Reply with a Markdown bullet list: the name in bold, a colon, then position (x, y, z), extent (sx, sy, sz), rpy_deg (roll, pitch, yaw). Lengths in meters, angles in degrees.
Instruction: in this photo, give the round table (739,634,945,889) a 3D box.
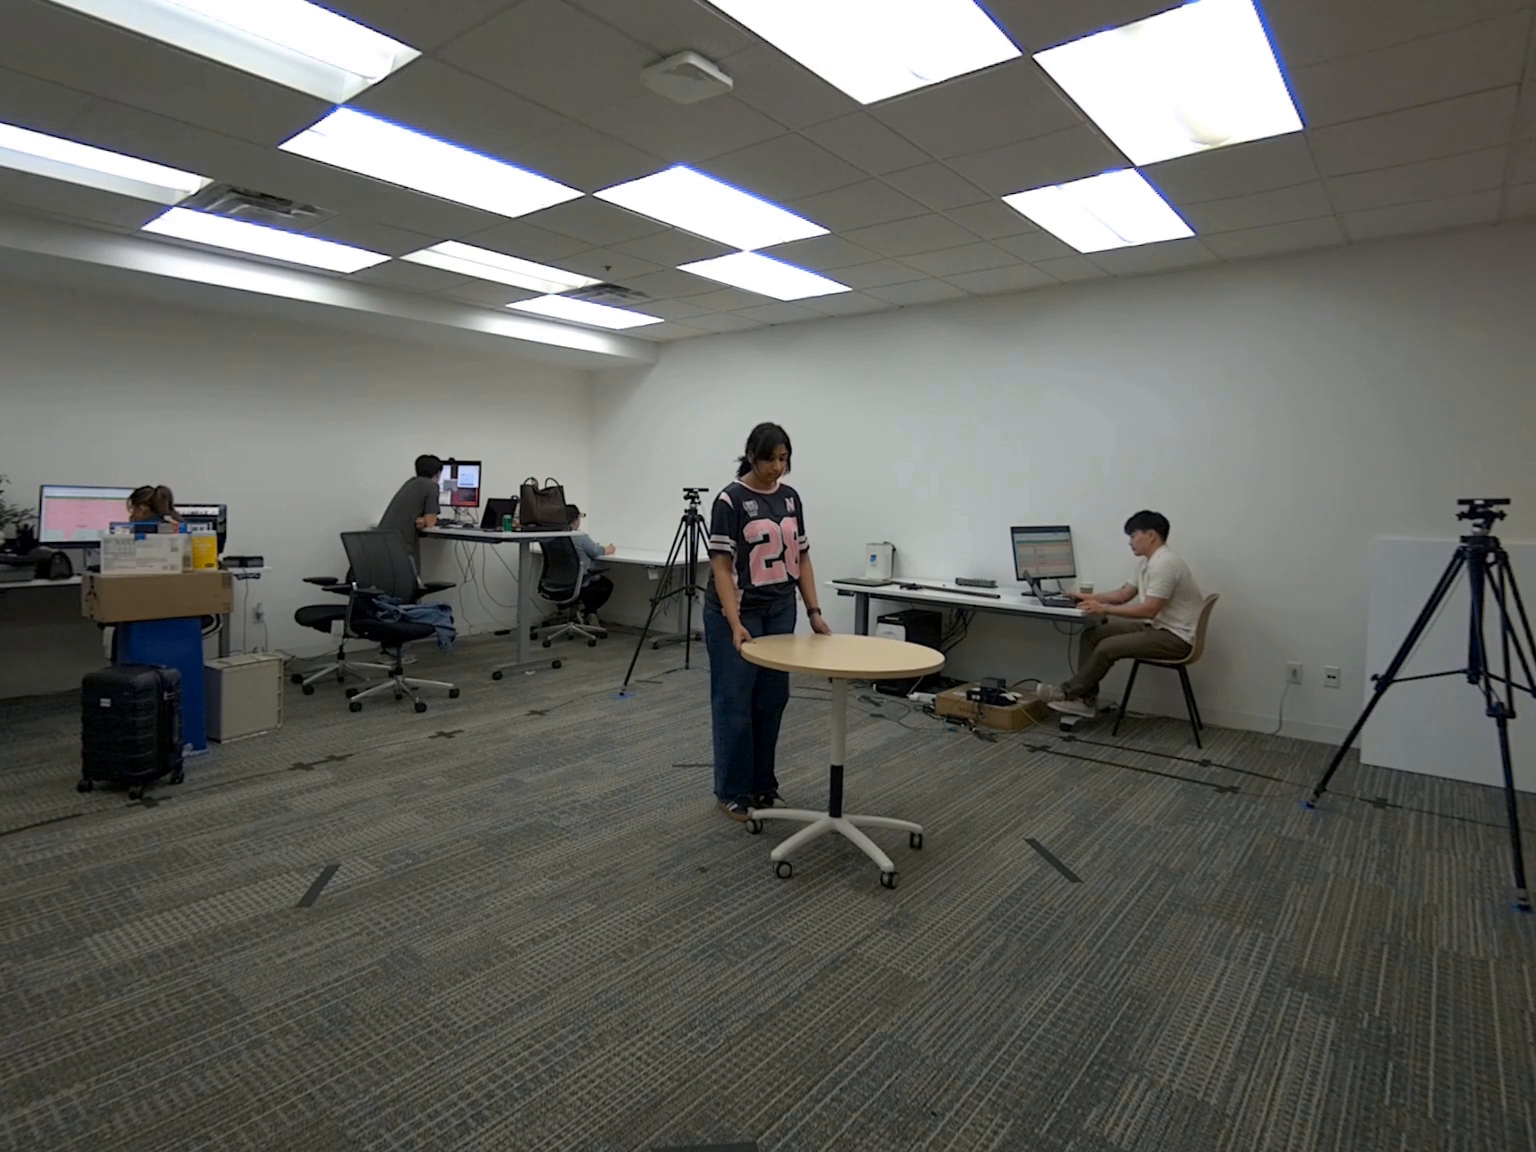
- **round table**: position (0.256, 0.673, 3.268), extent (0.763, 0.791, 0.768), rpy_deg (2, 4, -2)
